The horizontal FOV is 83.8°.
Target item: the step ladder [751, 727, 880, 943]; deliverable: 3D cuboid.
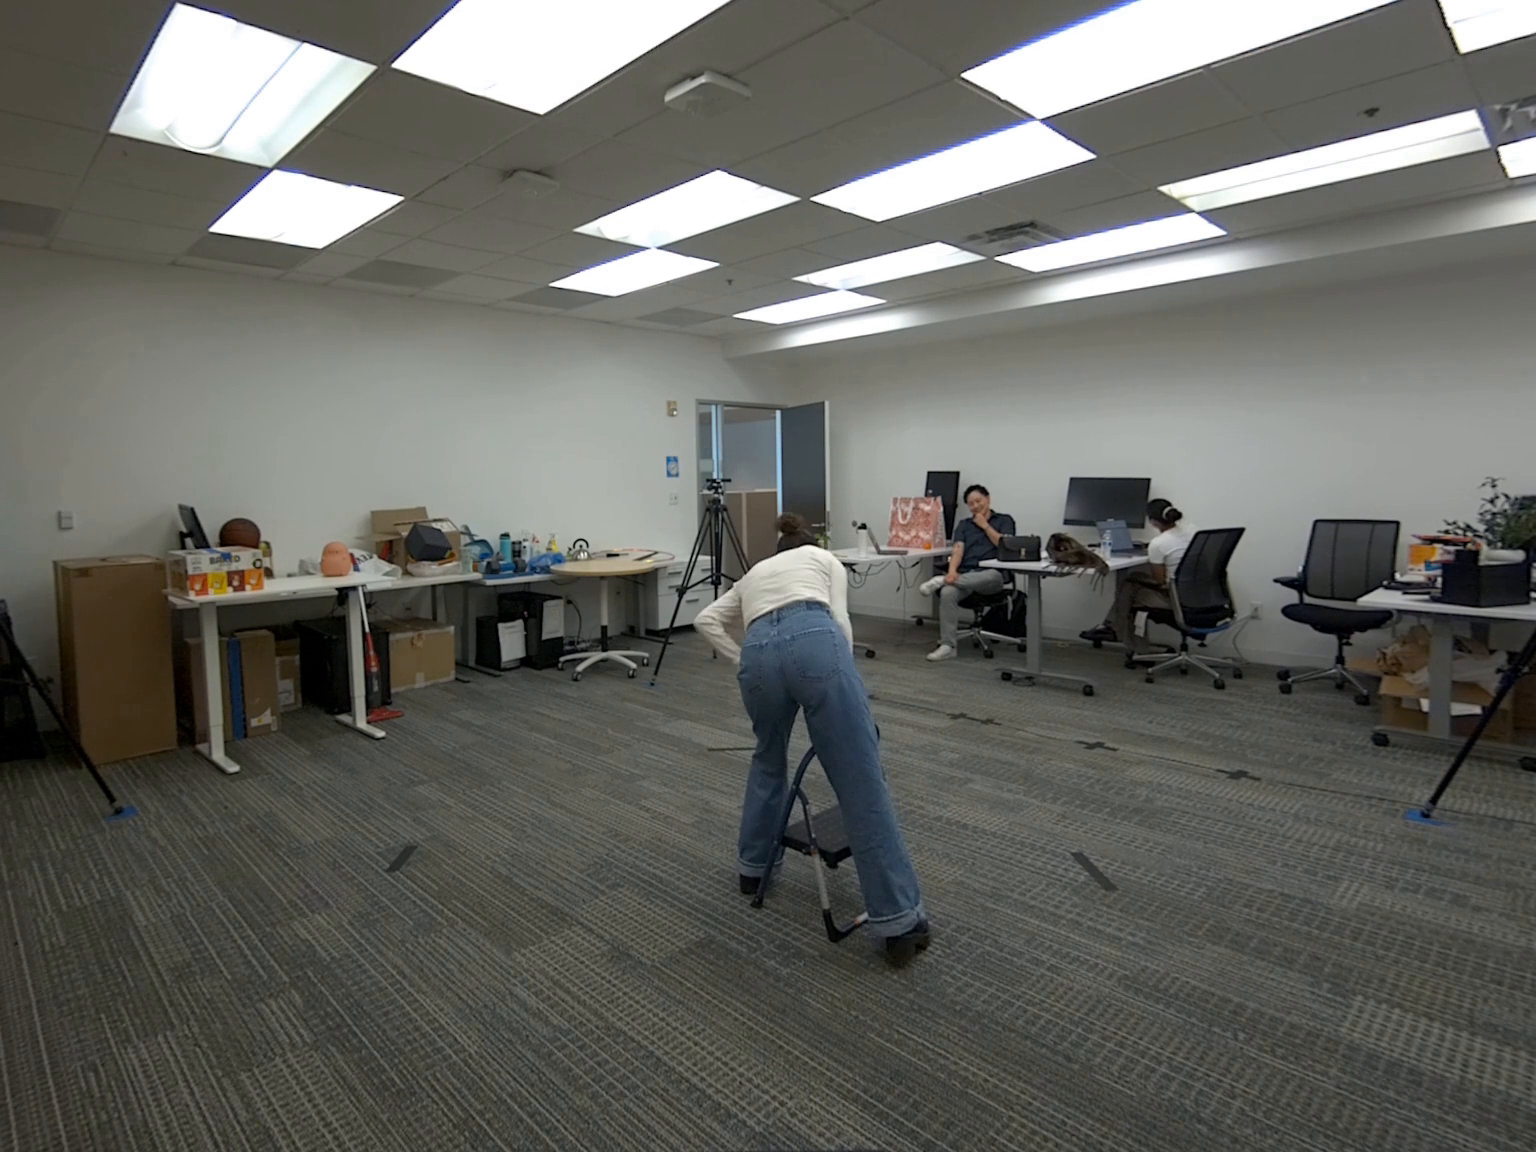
[{"bbox_3d":[0.212,0.773,2.802,0.360,0.604,0.419,3,6,43],"label":"step ladder"}]
